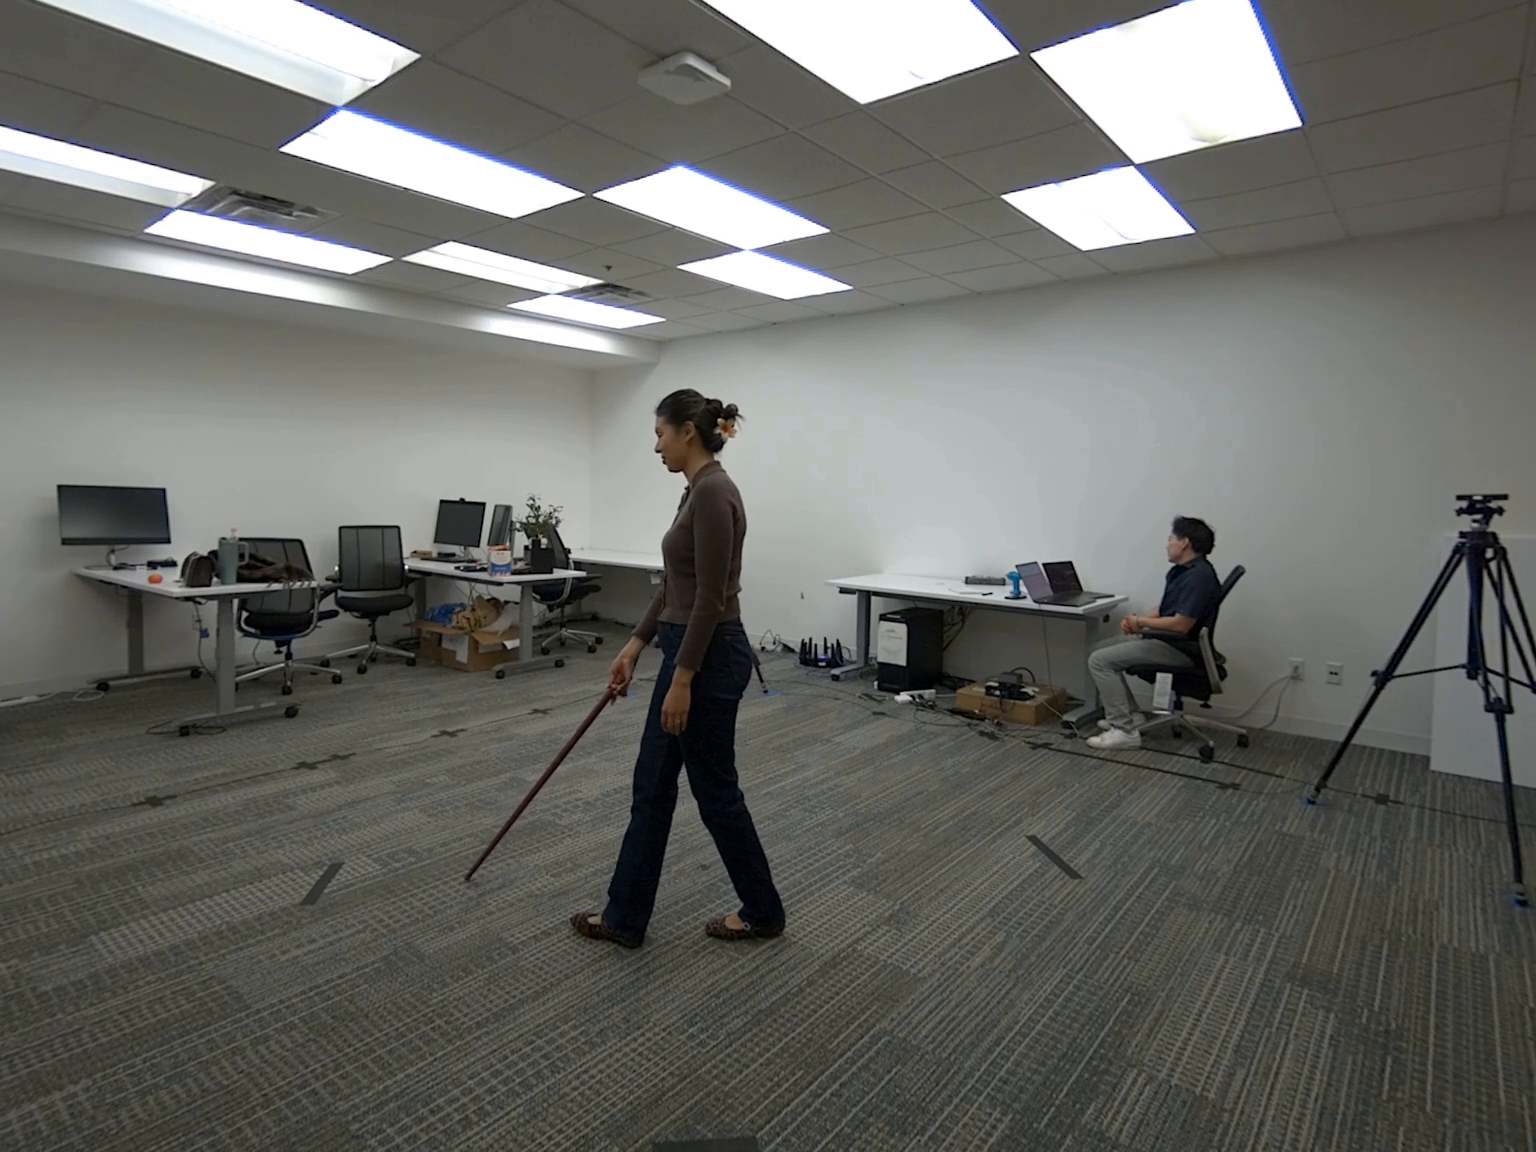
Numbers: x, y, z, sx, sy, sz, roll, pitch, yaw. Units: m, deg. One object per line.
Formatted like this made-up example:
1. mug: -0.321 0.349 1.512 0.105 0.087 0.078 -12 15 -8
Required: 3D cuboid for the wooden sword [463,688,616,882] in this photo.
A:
1. wooden sword: -0.786 0.706 2.817 0.023 1.023 0.052 34 20 -18
